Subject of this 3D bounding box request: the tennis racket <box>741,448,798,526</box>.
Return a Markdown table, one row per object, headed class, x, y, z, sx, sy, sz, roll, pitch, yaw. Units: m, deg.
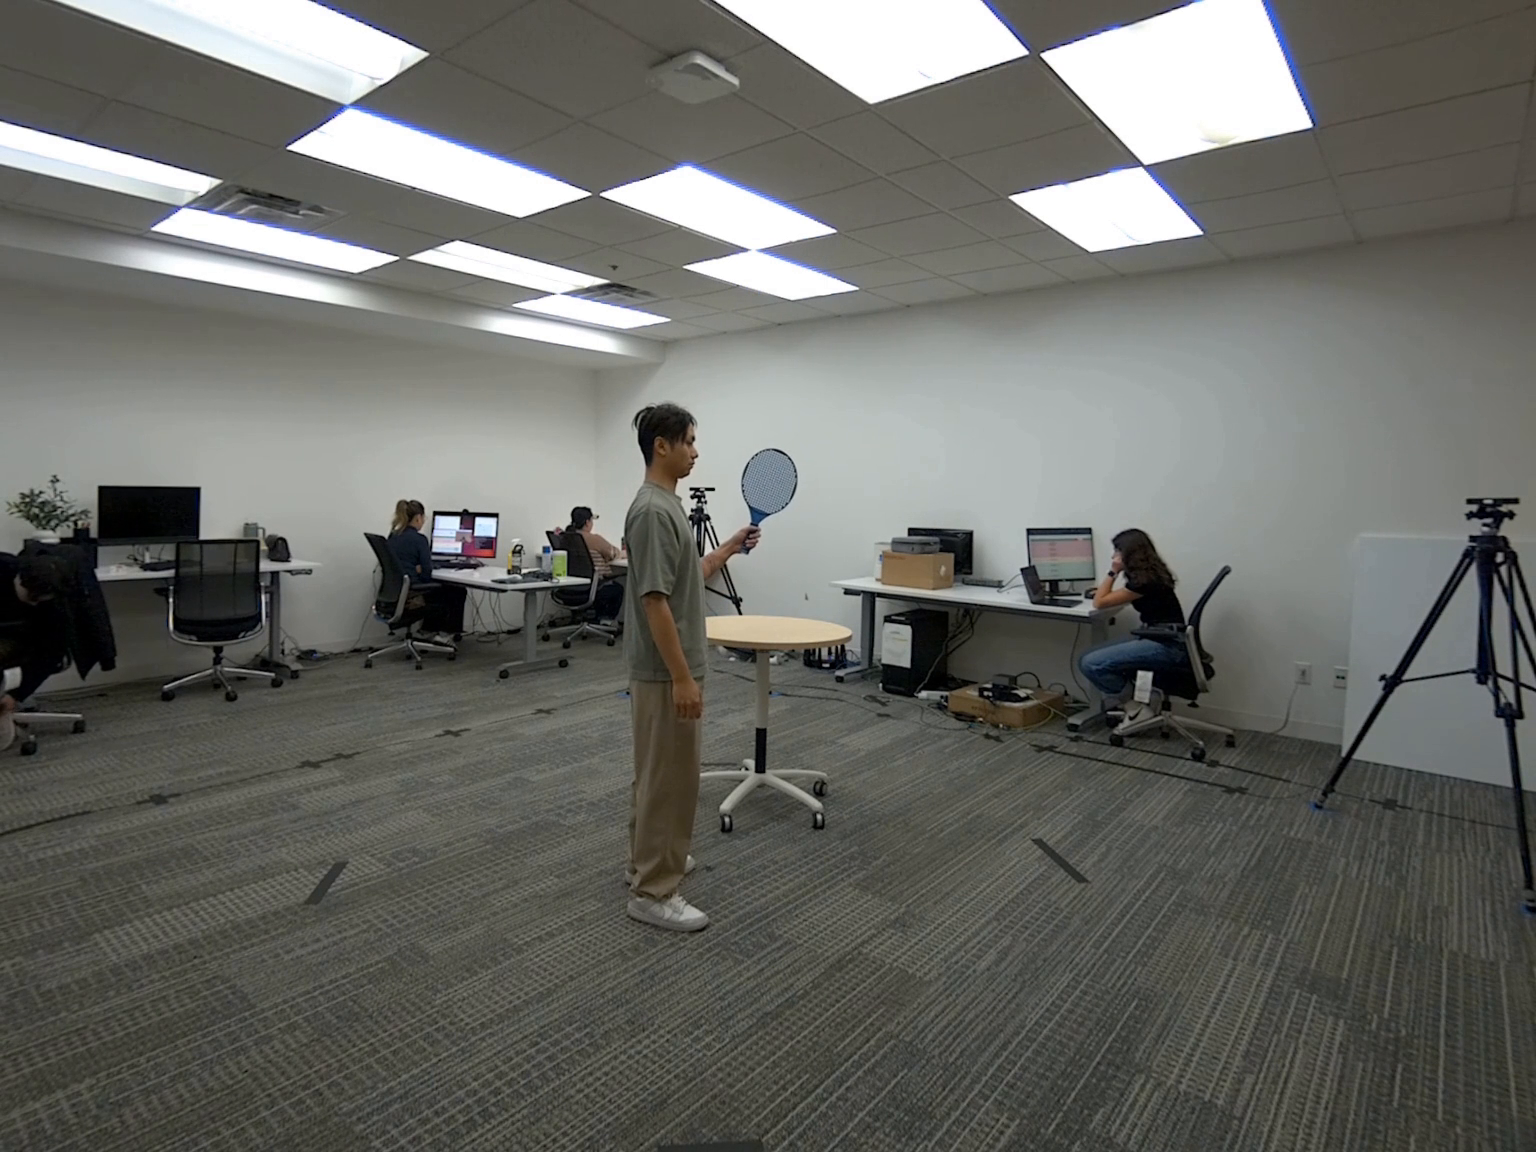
| class | x | y | z | sx | sy | sz | roll | pitch | yaw |
| --- | --- | --- | --- | --- | --- | --- | --- | --- | --- |
| tennis racket | -0.027 | -0.284 | 3.201 | 0.212 | 0.436 | 0.032 | 19 | -14 | -7 |
